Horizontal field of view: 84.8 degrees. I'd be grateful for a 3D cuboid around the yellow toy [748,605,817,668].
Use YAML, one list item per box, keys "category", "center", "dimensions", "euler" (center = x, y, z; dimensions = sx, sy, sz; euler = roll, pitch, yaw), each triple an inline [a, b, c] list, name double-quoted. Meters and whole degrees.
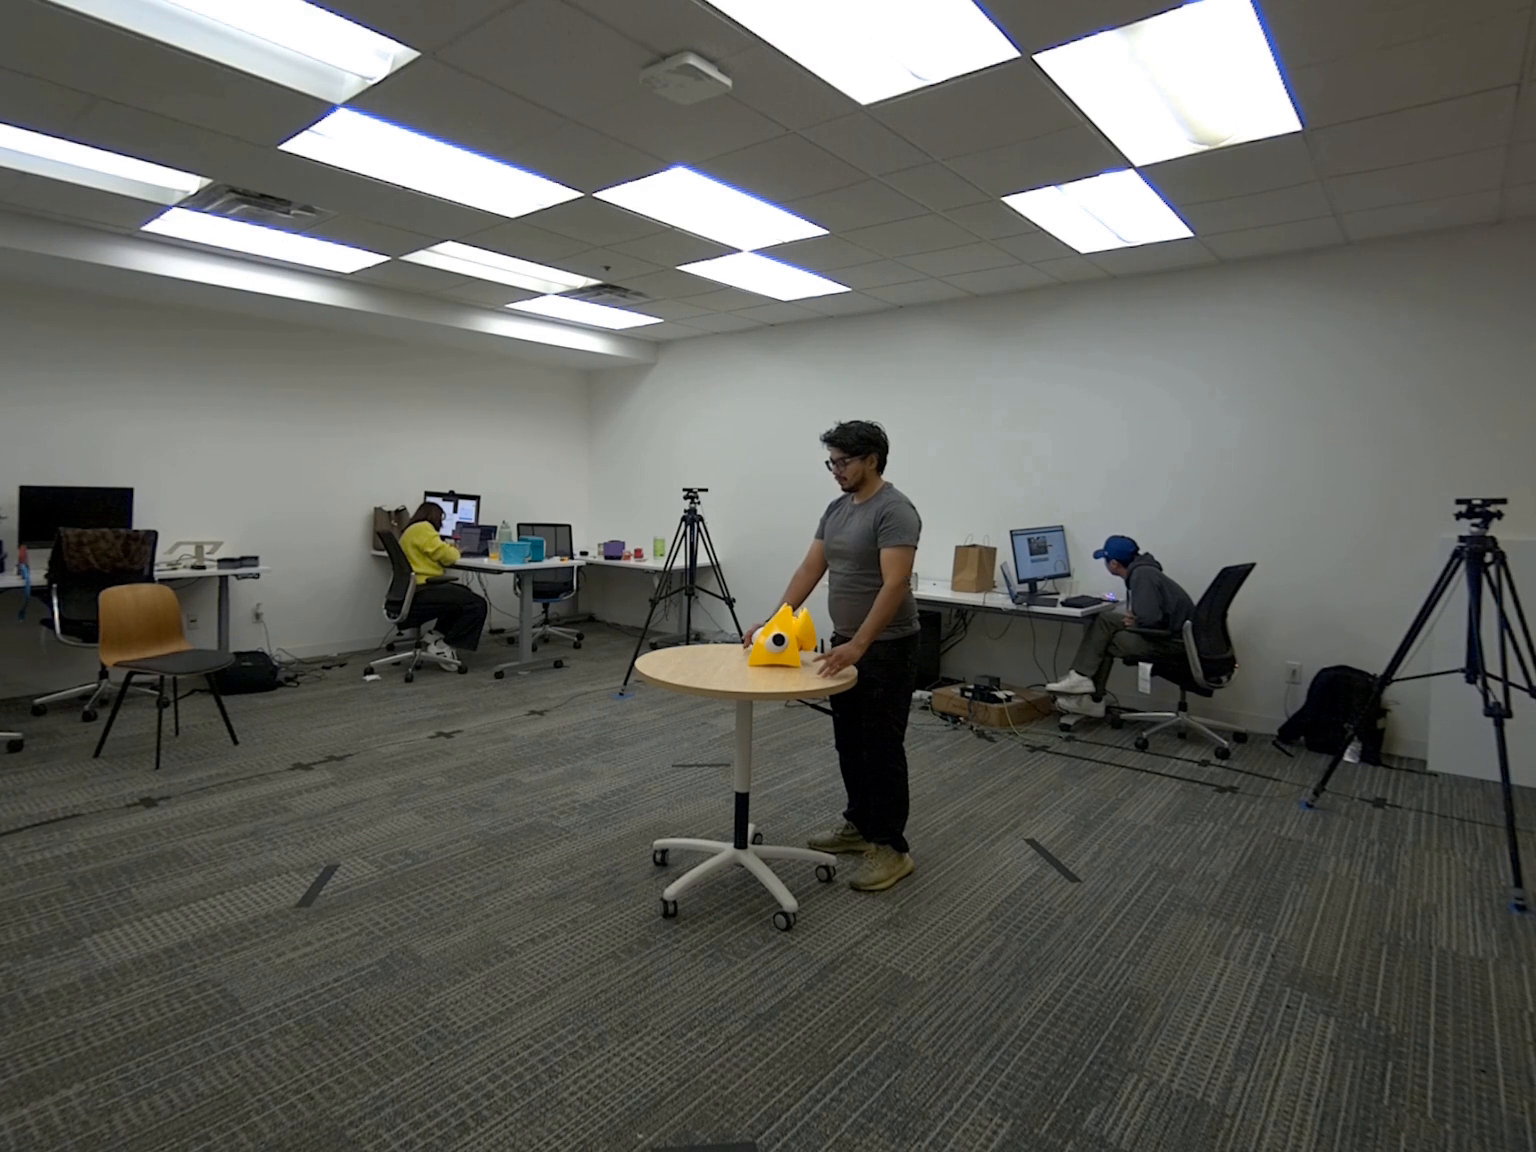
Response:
- category: "yellow toy"
  center: [0.011, 0.219, 2.975]
  dimensions: [0.226, 0.191, 0.211]
  euler: [-16, 13, -27]
